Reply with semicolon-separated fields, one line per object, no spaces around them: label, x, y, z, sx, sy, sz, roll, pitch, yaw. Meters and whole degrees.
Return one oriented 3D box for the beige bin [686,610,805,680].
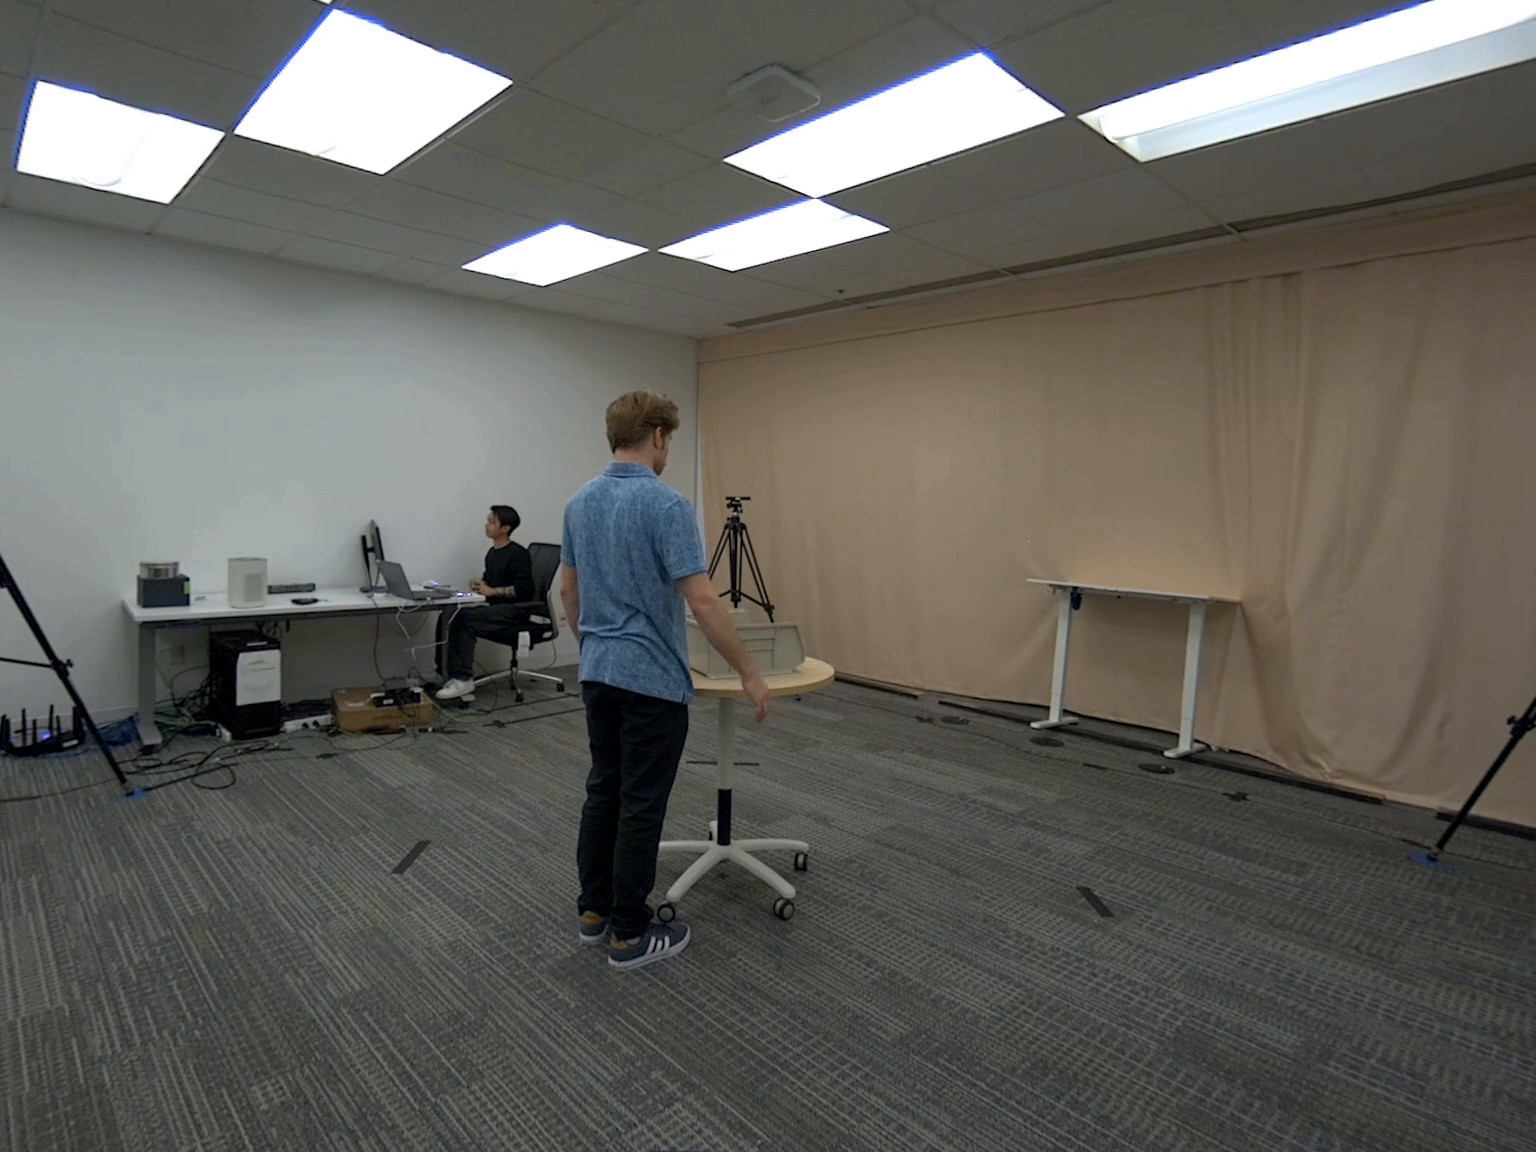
beige bin;-0.145;0.234;3.042;0.371;0.188;0.431;-2;6;-25
